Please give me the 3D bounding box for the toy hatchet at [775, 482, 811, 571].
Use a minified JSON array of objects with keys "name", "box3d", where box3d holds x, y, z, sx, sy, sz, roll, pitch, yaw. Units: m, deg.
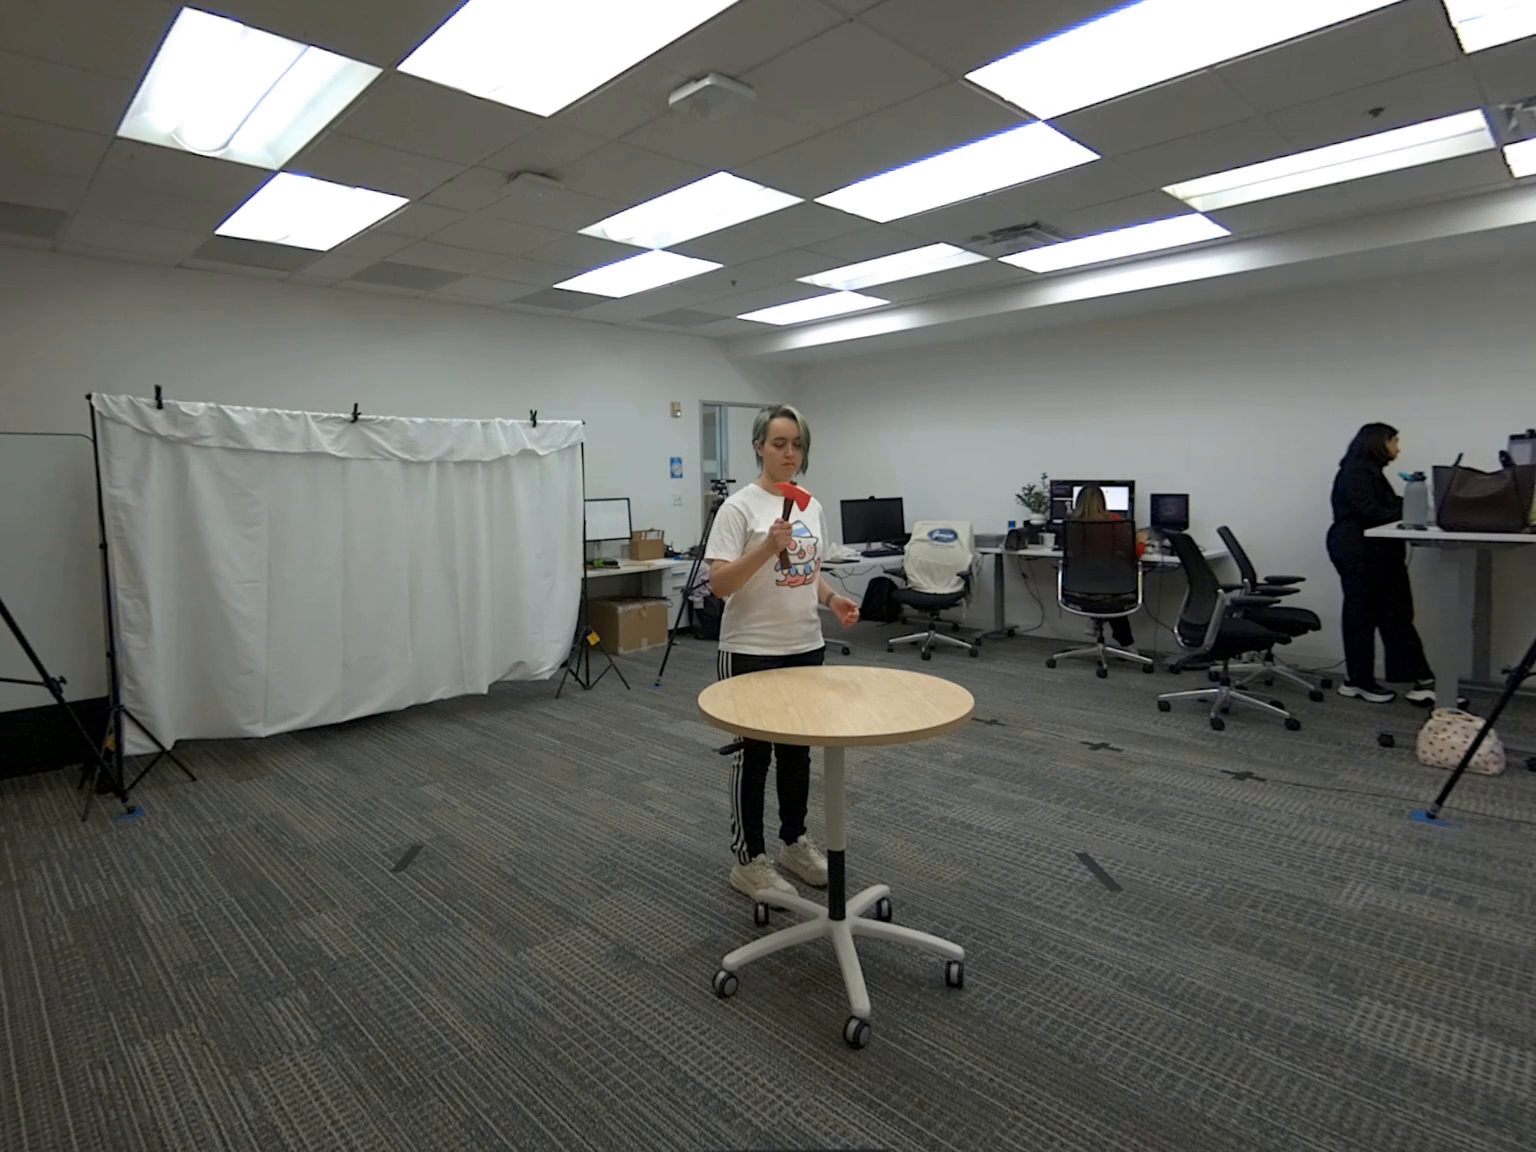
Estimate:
[{"name":"toy hatchet","box3d":[0.081,-0.147,2.566,0.135,0.268,0.029,0,8,37]}]
